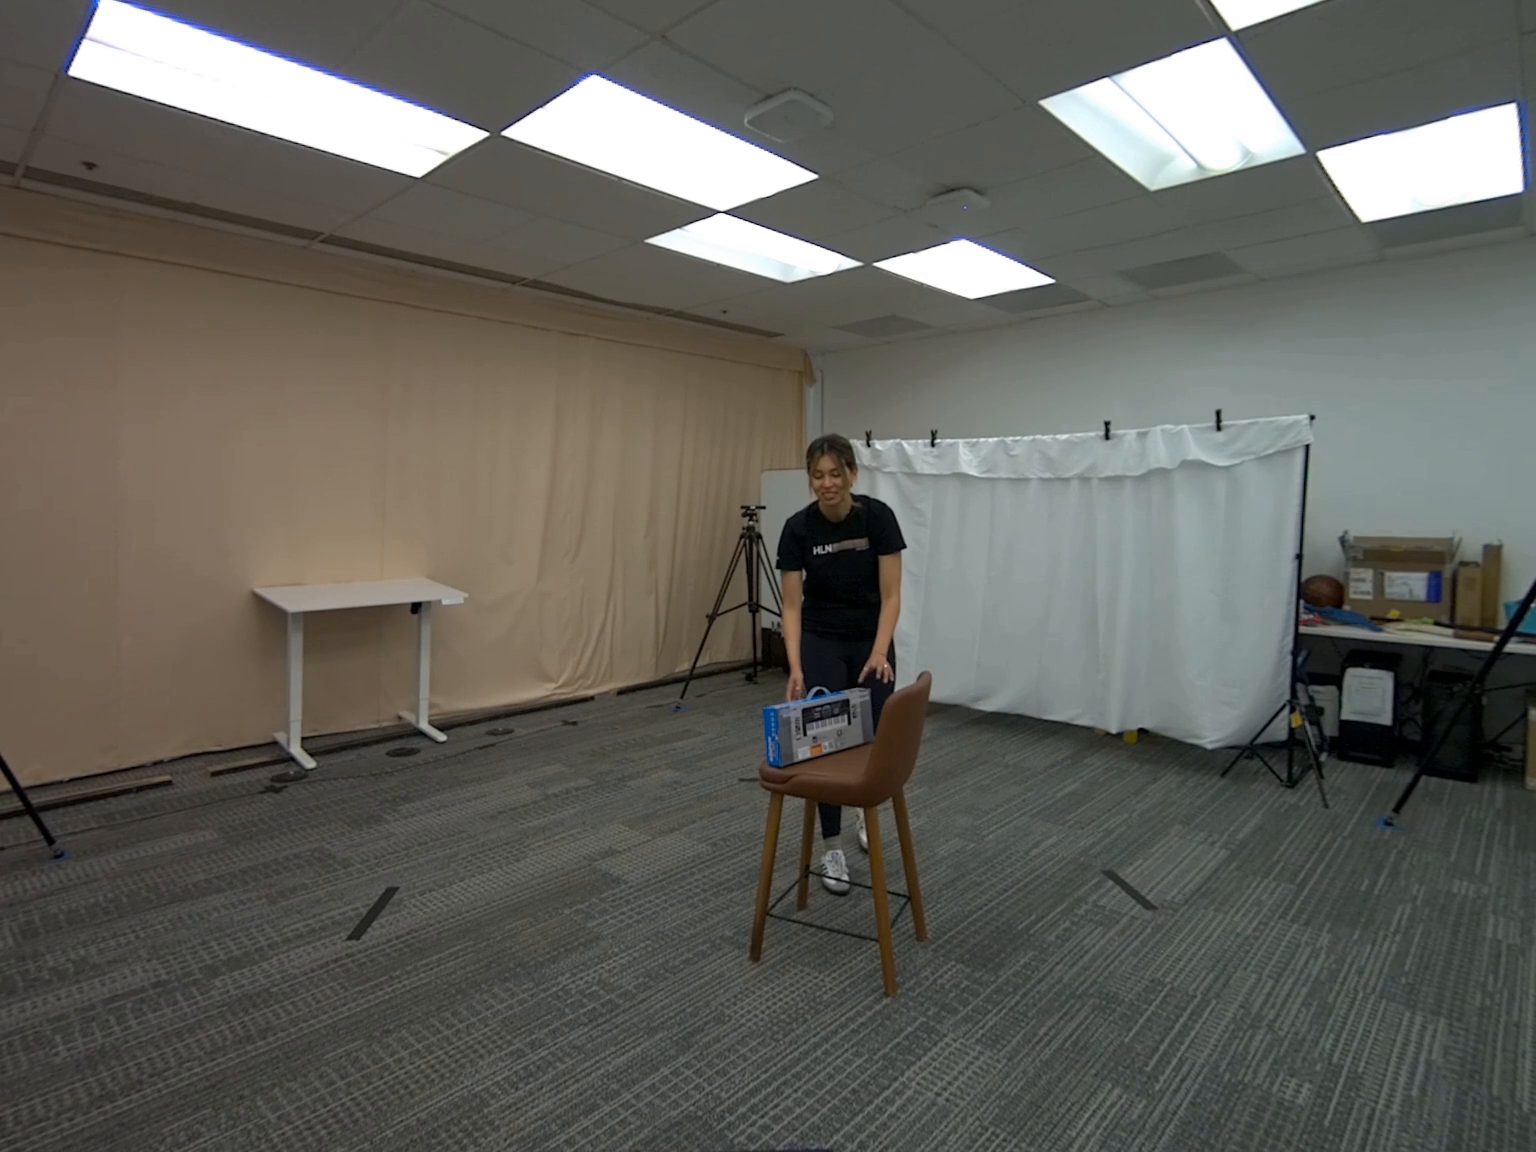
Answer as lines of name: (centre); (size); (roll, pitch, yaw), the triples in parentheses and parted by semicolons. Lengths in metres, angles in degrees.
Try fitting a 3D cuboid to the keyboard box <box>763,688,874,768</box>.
keyboard box: (0.172, 0.471, 2.658); (0.423, 0.176, 0.061); (-4, -3, -43)
